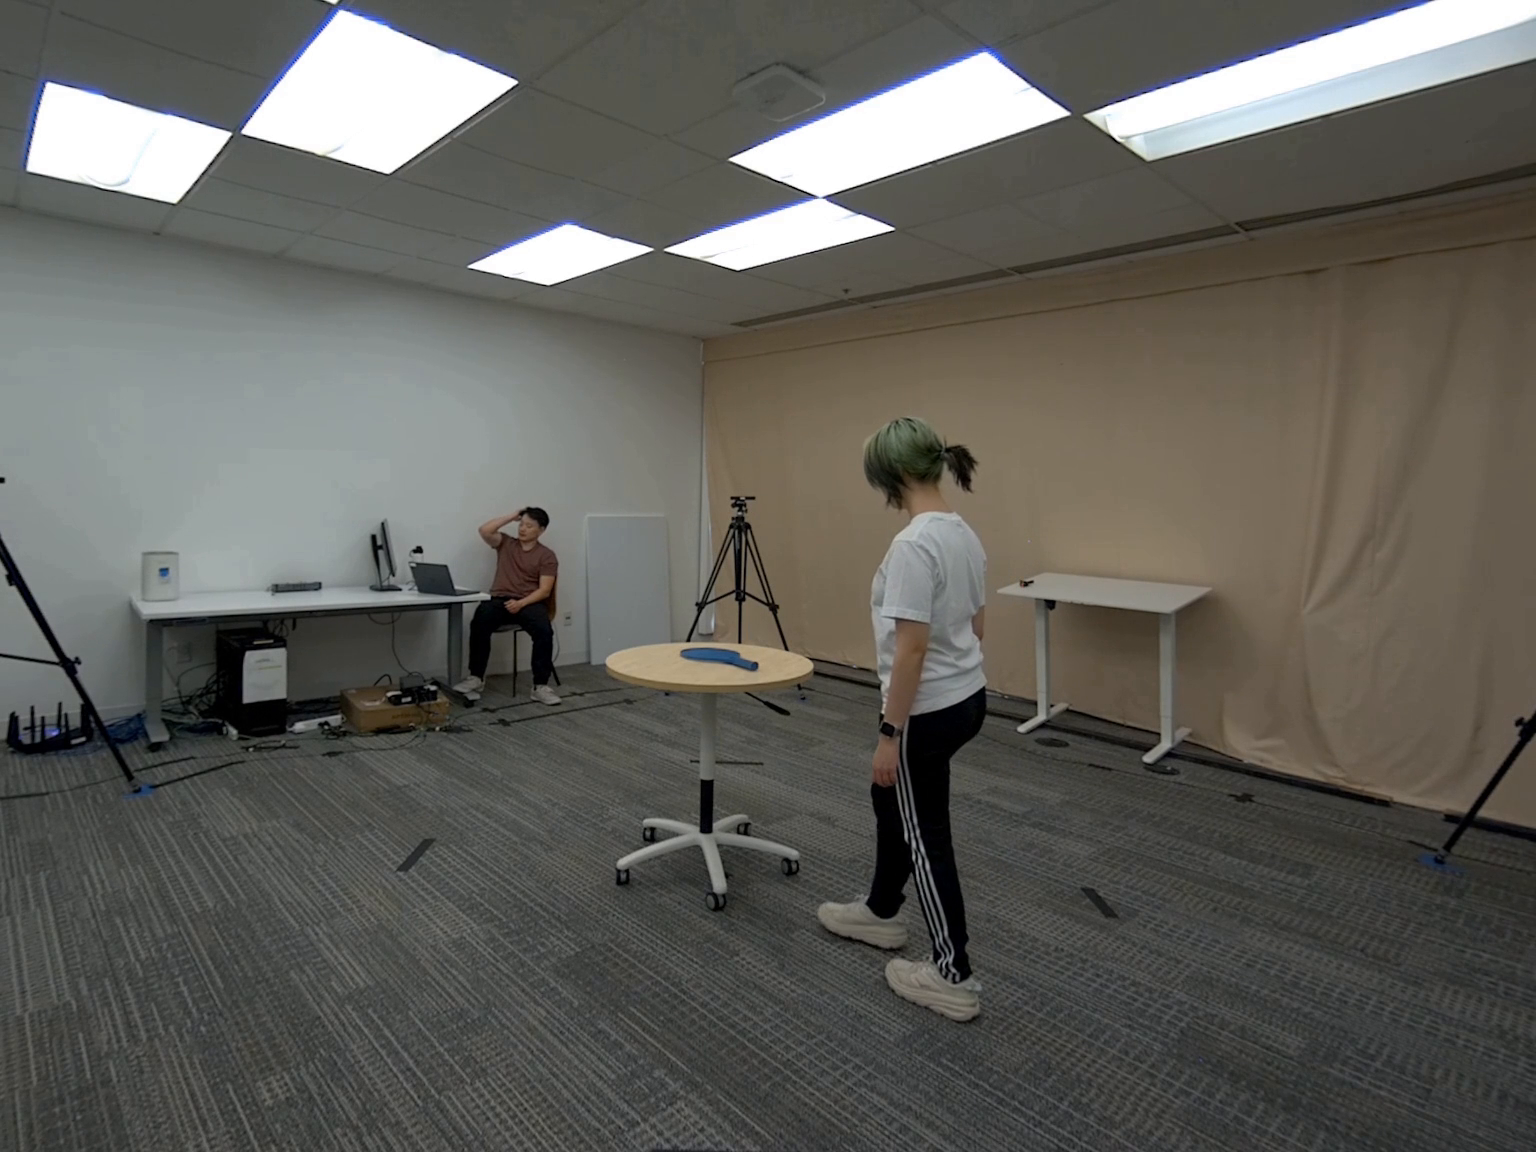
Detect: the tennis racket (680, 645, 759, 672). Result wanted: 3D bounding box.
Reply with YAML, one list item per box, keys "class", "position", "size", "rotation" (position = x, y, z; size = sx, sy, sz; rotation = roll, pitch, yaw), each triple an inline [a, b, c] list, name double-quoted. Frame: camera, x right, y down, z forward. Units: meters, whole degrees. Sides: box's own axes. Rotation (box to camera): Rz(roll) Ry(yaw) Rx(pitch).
- class: "tennis racket"
  position: [-0.179, 0.310, 3.134]
  size: [0.209, 0.031, 0.443]
  rotation: [-3, 6, -31]
